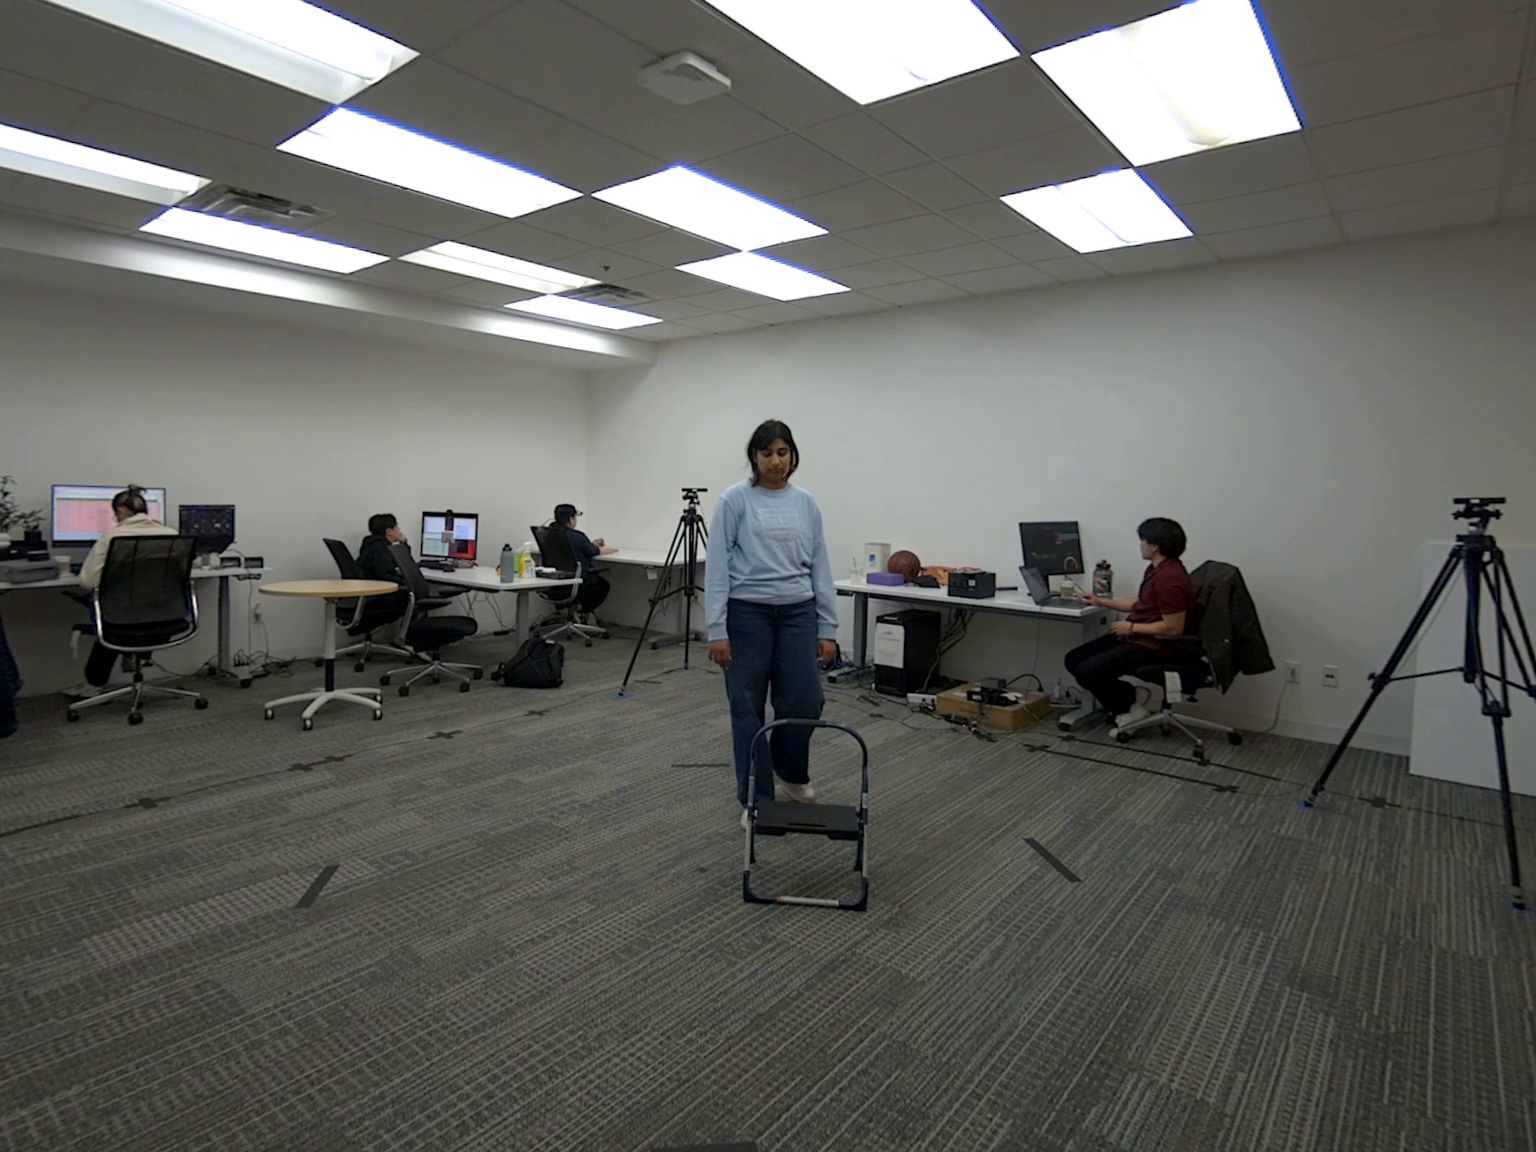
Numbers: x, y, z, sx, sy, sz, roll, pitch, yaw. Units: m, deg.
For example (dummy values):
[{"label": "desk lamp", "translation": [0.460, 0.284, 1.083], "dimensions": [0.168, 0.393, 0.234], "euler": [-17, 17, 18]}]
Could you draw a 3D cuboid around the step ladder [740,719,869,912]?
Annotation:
[{"label": "step ladder", "translation": [0.133, 0.785, 2.994], "dimensions": [0.433, 0.605, 0.348], "euler": [1, 3, 5]}]
